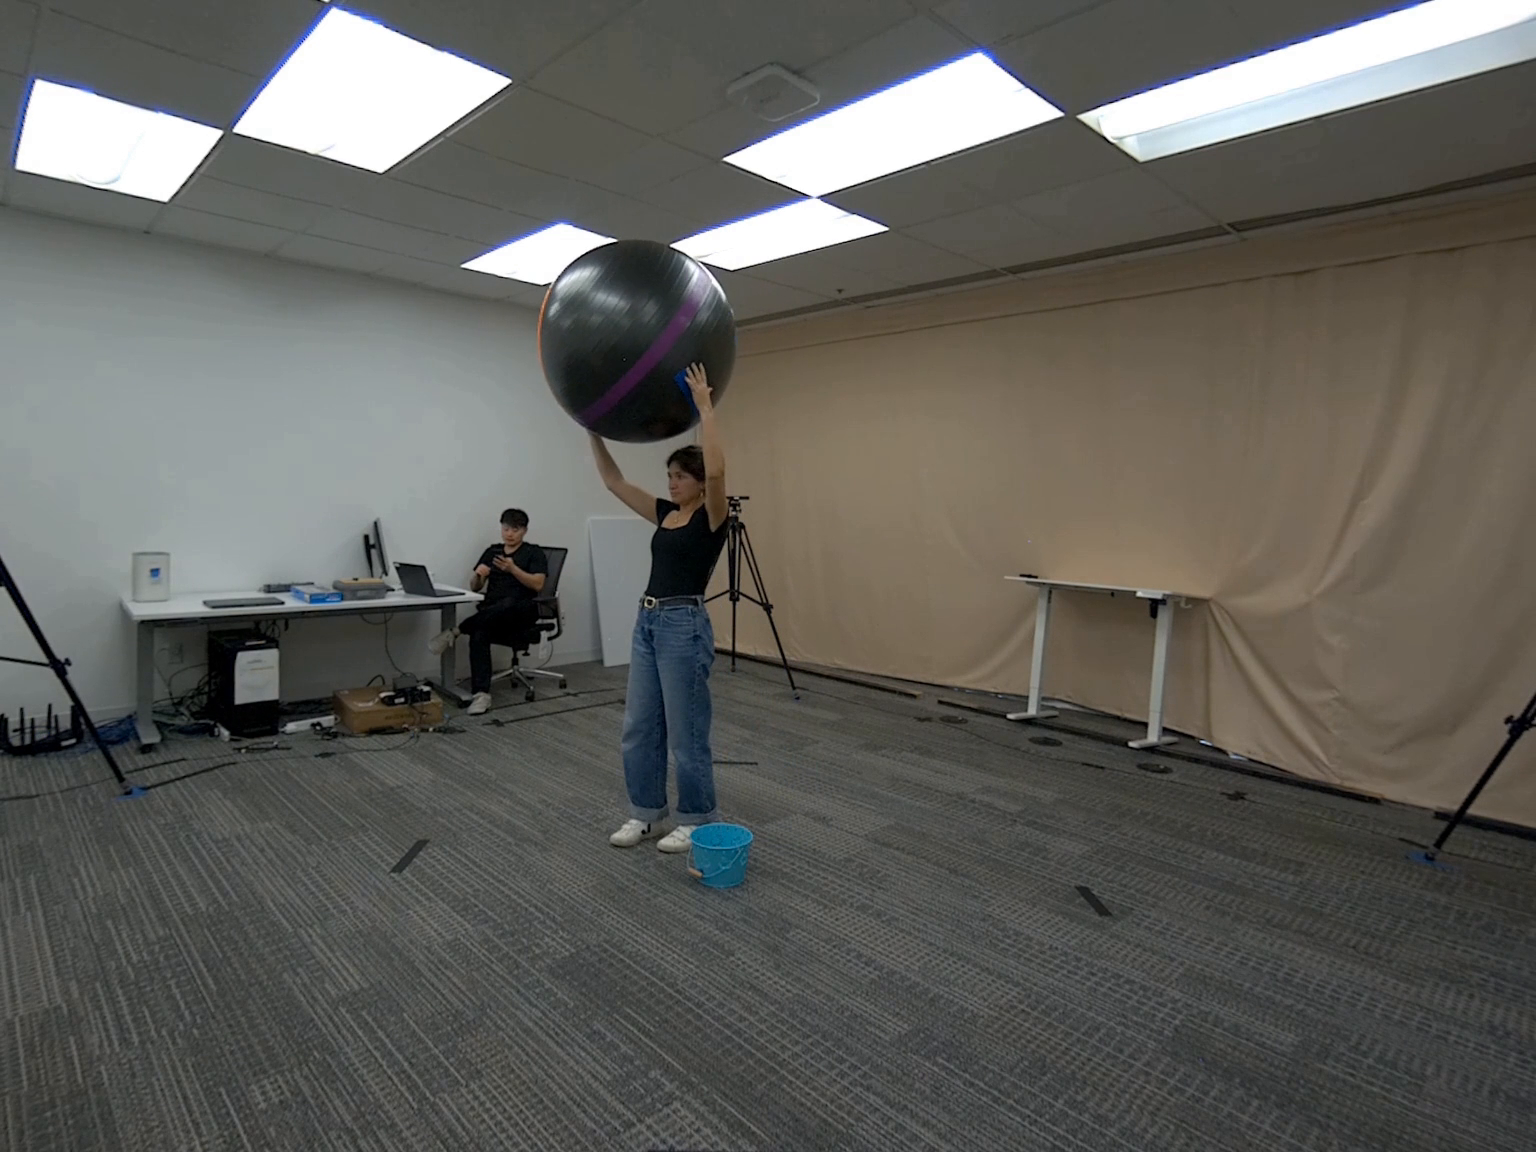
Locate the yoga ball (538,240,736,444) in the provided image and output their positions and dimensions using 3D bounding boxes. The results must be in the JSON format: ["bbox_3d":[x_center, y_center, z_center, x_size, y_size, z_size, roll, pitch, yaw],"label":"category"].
[{"bbox_3d":[-0.509,-0.889,3.235,0.757,0.756,0.761,1,4,-1],"label":"yoga ball"}]
